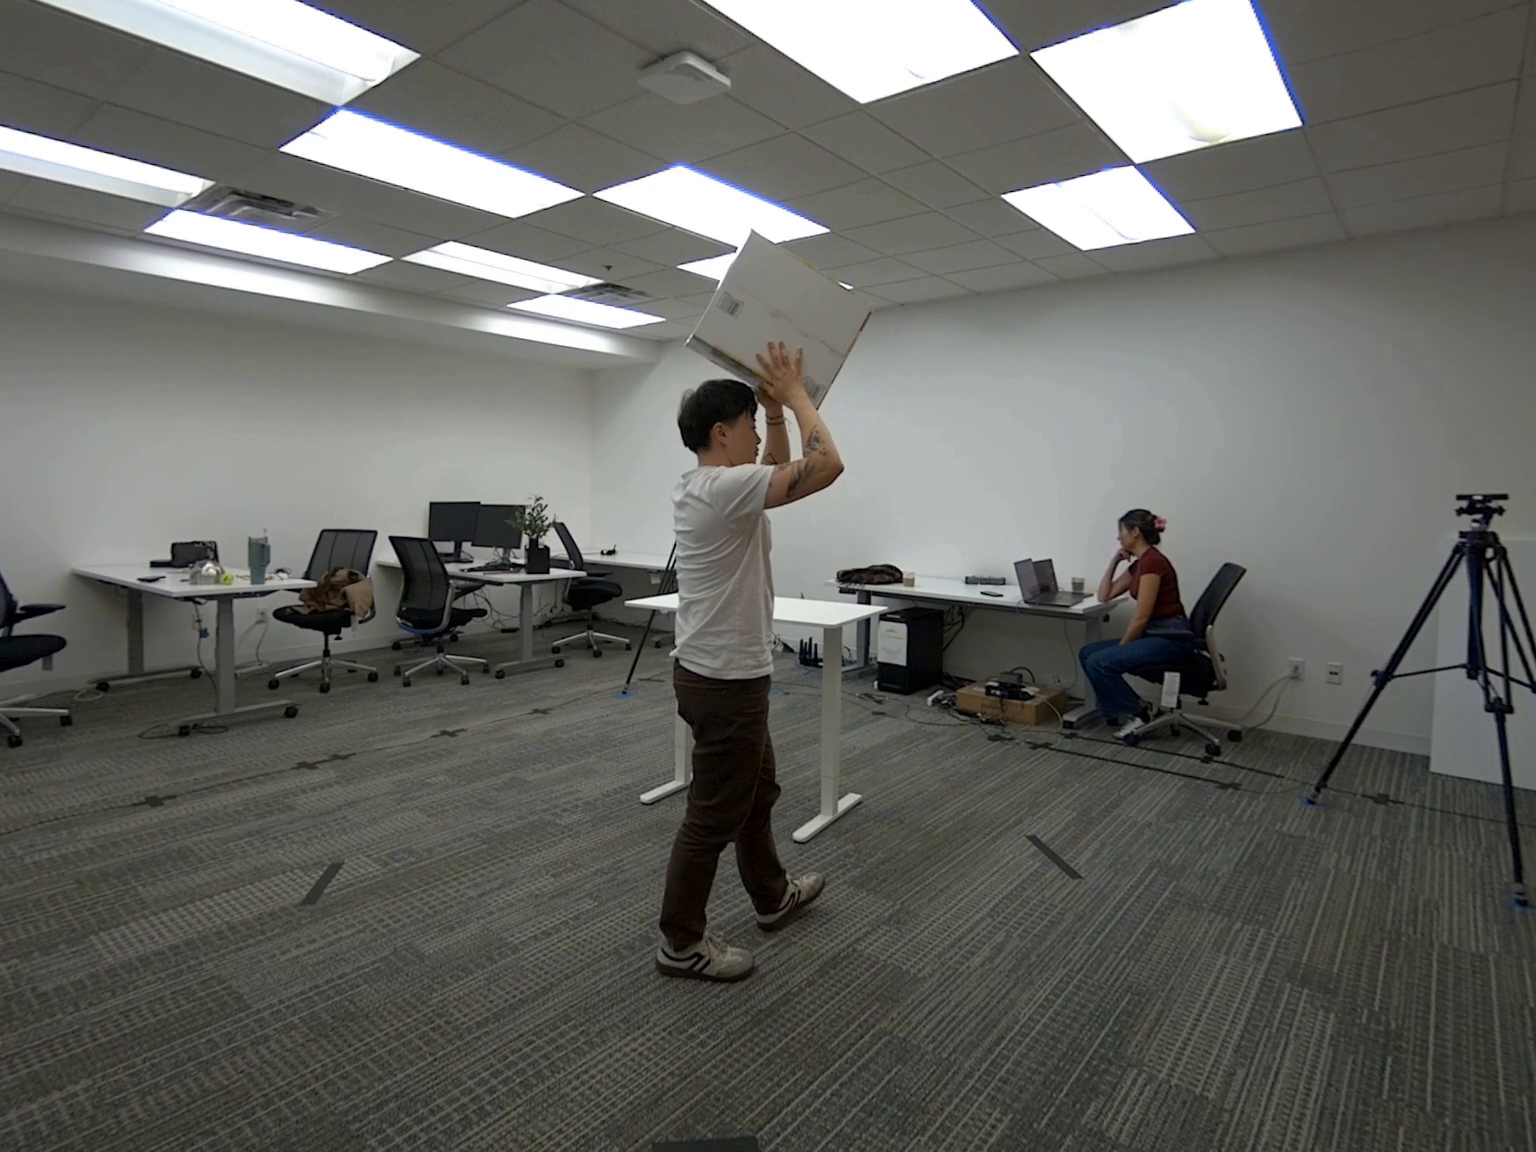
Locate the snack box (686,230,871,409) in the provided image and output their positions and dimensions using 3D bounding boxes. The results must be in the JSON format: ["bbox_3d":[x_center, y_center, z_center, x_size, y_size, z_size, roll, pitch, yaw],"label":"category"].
[{"bbox_3d":[0.019,-0.717,2.435,0.400,0.340,0.208,29,0,-10],"label":"snack box"}]
